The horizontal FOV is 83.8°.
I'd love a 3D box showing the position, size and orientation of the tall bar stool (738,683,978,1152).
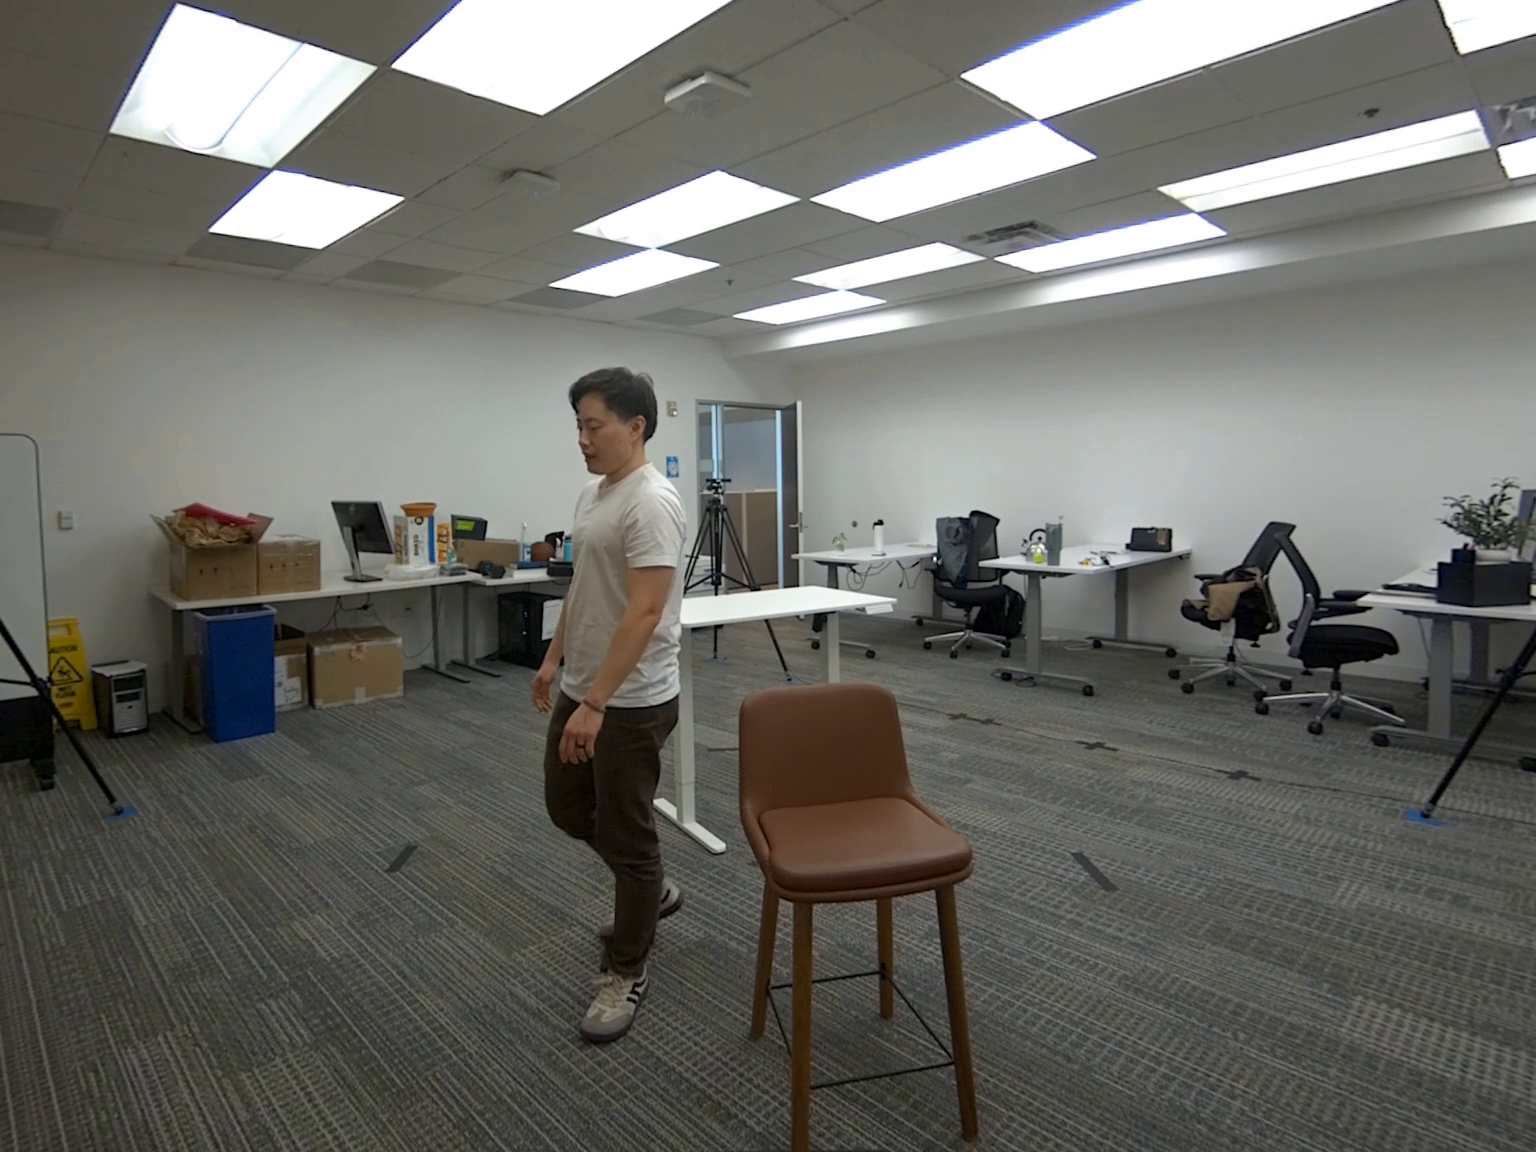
[{"bbox_3d":[0.189,0.743,1.957,0.451,0.888,0.474,-2,3,-13],"label":"tall bar stool"}]
